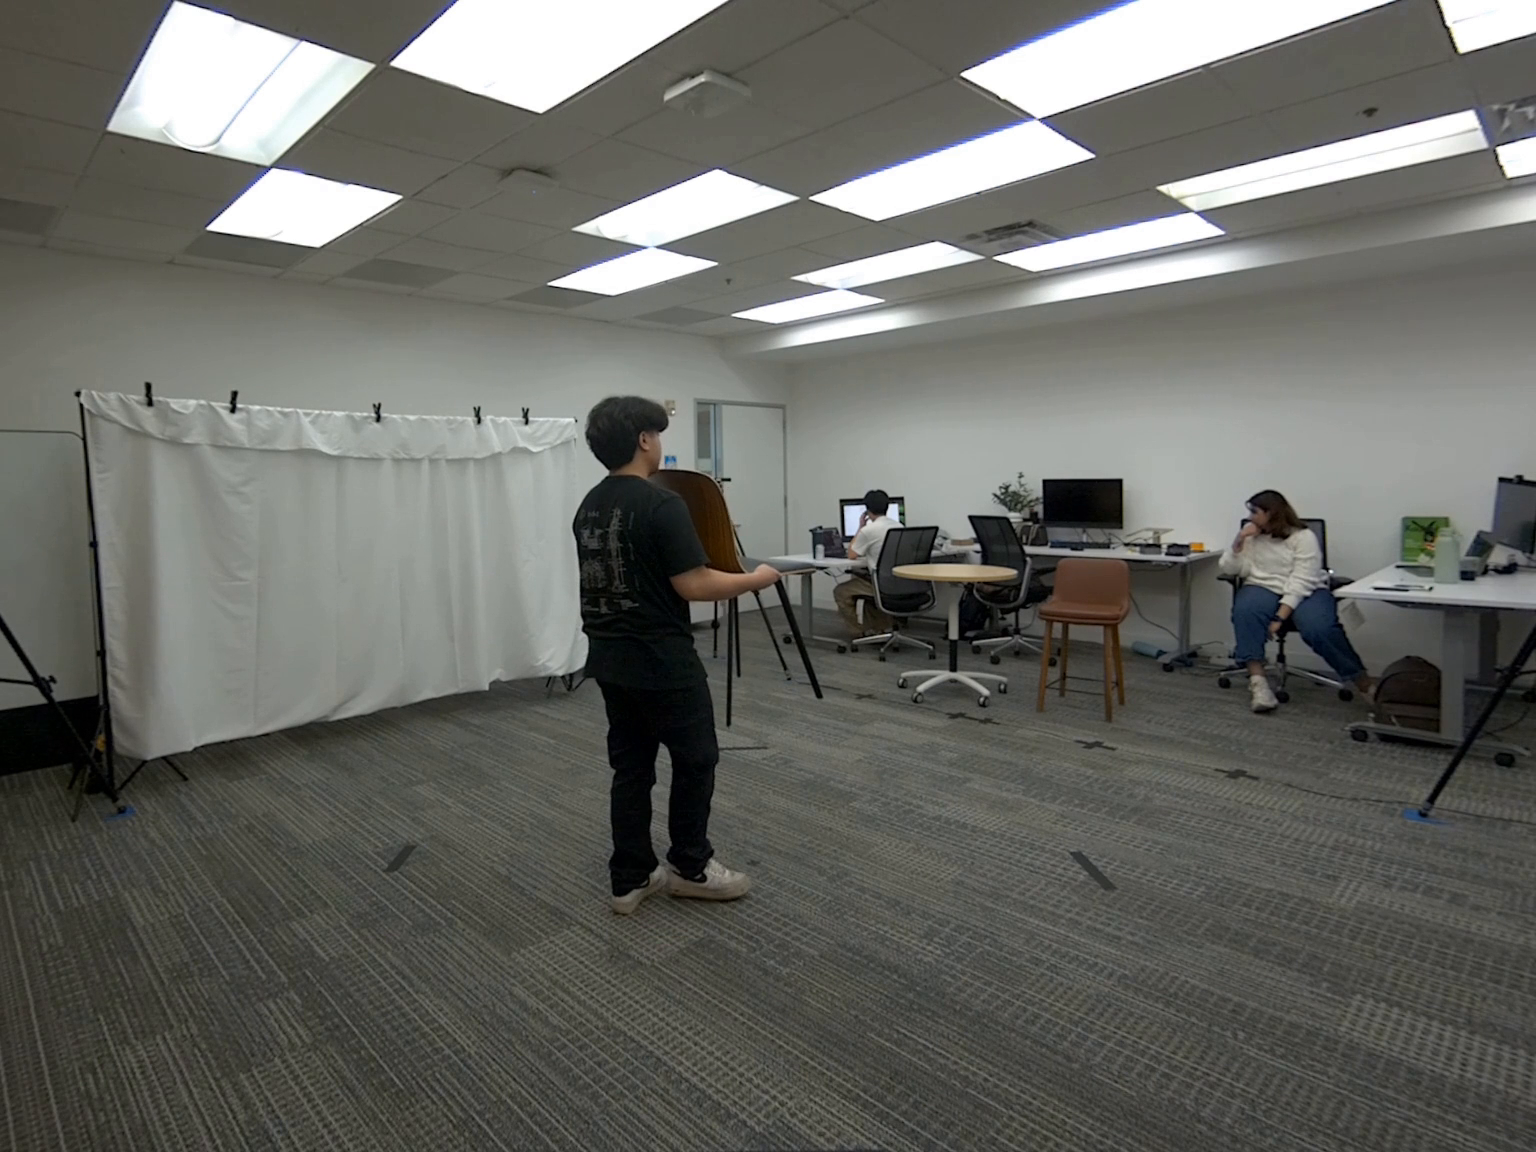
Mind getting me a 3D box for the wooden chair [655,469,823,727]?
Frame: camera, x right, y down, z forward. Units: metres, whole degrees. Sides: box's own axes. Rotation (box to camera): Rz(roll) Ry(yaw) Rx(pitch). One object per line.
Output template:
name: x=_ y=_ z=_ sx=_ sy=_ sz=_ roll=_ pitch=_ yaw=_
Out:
wooden chair: x=-0.118 y=0.028 z=3.059 sx=0.511 sy=0.871 sz=0.493 roll=-12 pitch=11 yaw=-42
